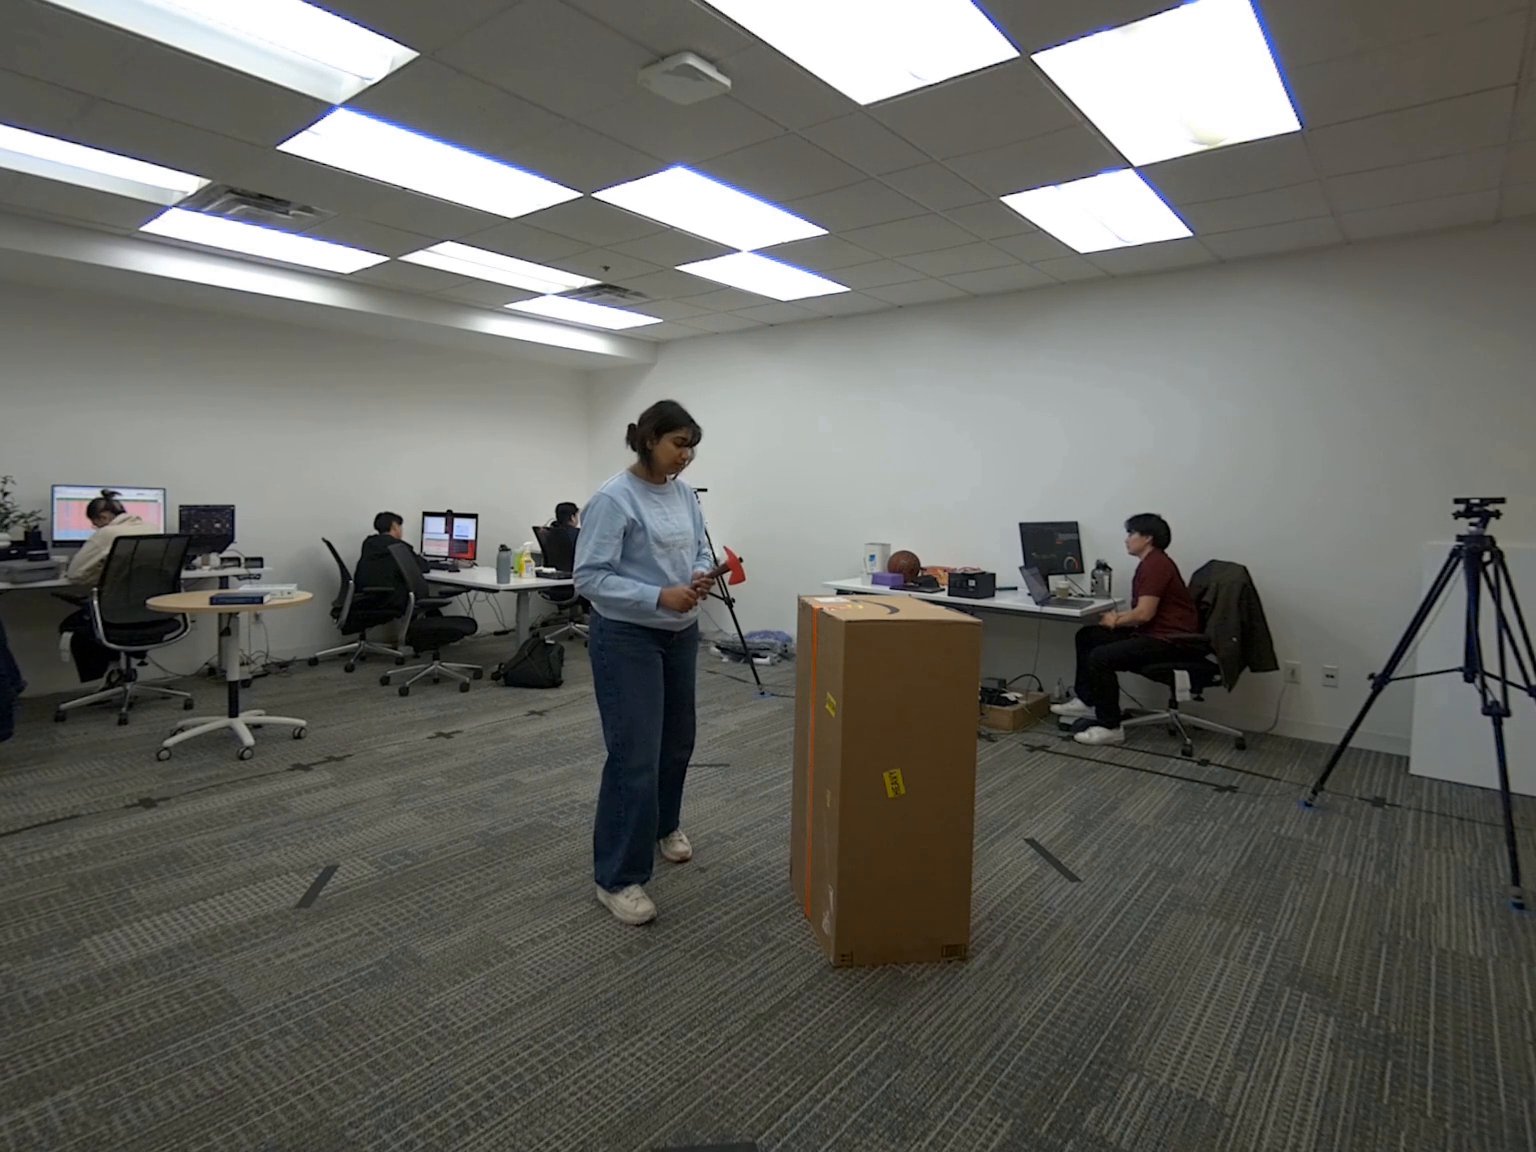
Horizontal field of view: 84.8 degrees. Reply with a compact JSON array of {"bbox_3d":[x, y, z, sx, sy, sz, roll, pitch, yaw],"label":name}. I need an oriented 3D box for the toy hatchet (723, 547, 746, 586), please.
[{"bbox_3d":[-0.198,0.024,2.798,0.270,0.130,0.030,-44,8,20],"label":"toy hatchet"}]
